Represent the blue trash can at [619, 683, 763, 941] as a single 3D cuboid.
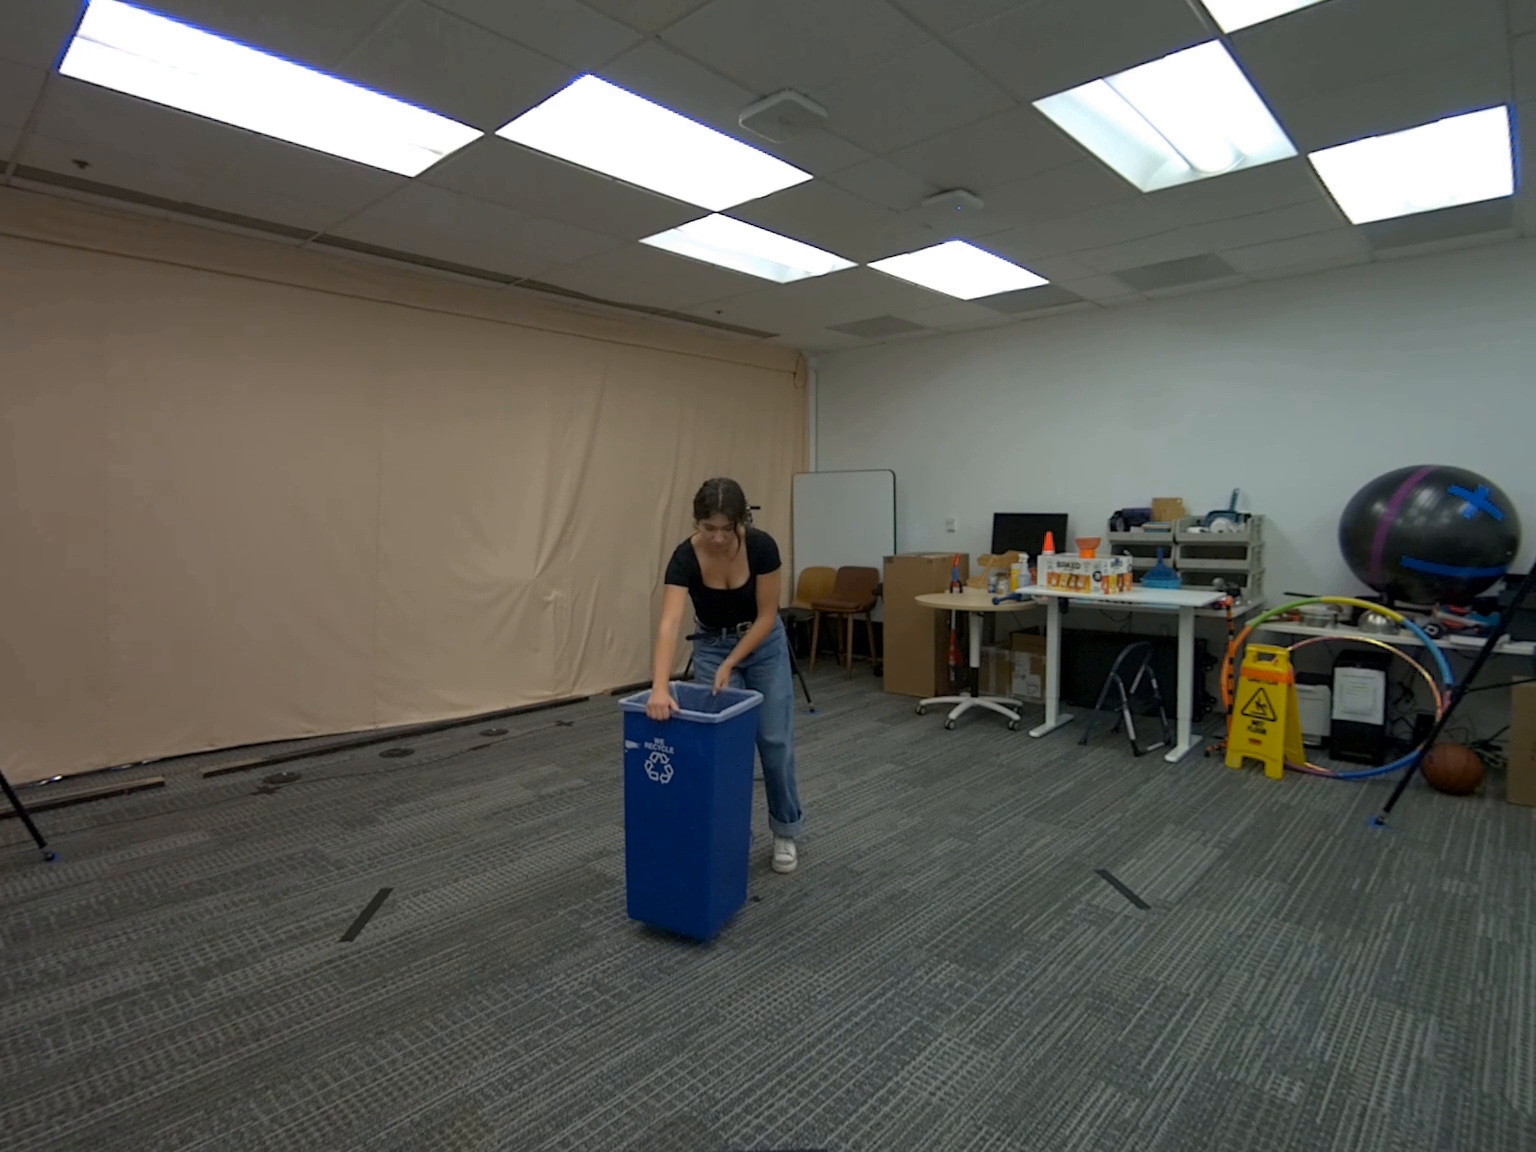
[{"bbox_3d":[-0.249,0.751,2.779,0.384,0.712,0.369,2,3,25],"label":"blue trash can"}]
